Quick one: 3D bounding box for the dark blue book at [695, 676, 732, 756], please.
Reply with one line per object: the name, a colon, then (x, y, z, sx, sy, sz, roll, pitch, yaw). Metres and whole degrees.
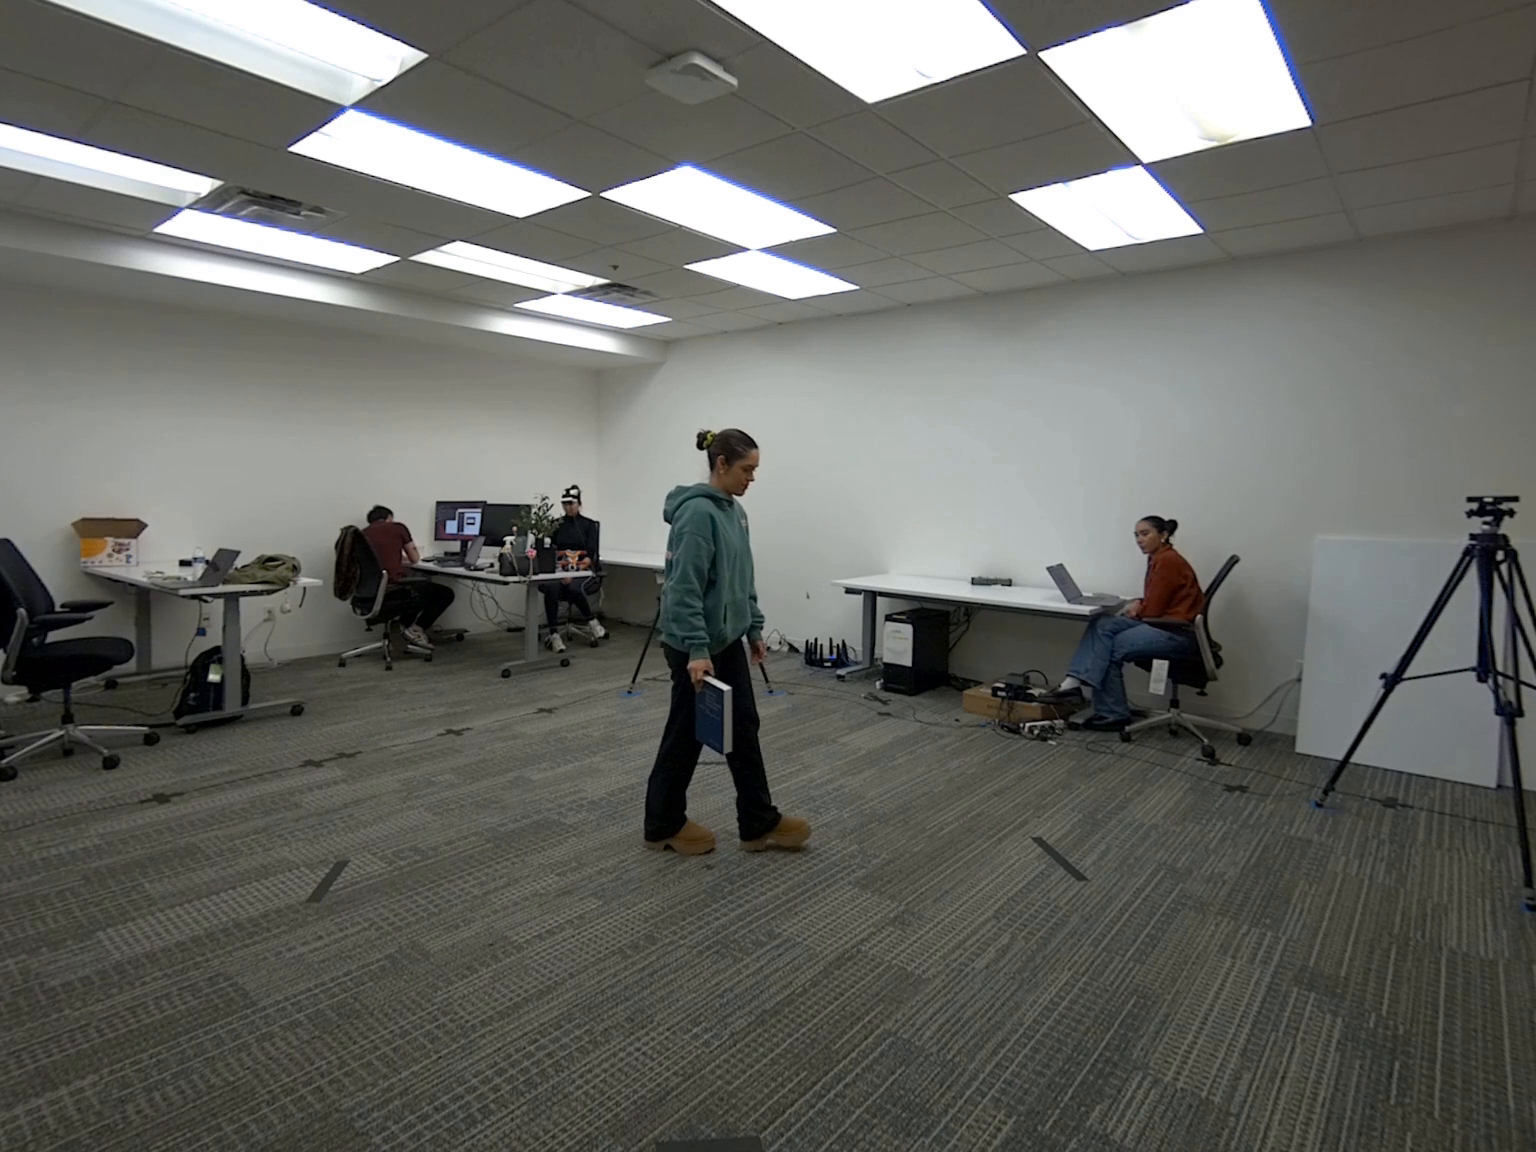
dark blue book: (-0.209, 0.470, 2.943, 0.044, 0.242, 0.170, -10, 18, -38)
